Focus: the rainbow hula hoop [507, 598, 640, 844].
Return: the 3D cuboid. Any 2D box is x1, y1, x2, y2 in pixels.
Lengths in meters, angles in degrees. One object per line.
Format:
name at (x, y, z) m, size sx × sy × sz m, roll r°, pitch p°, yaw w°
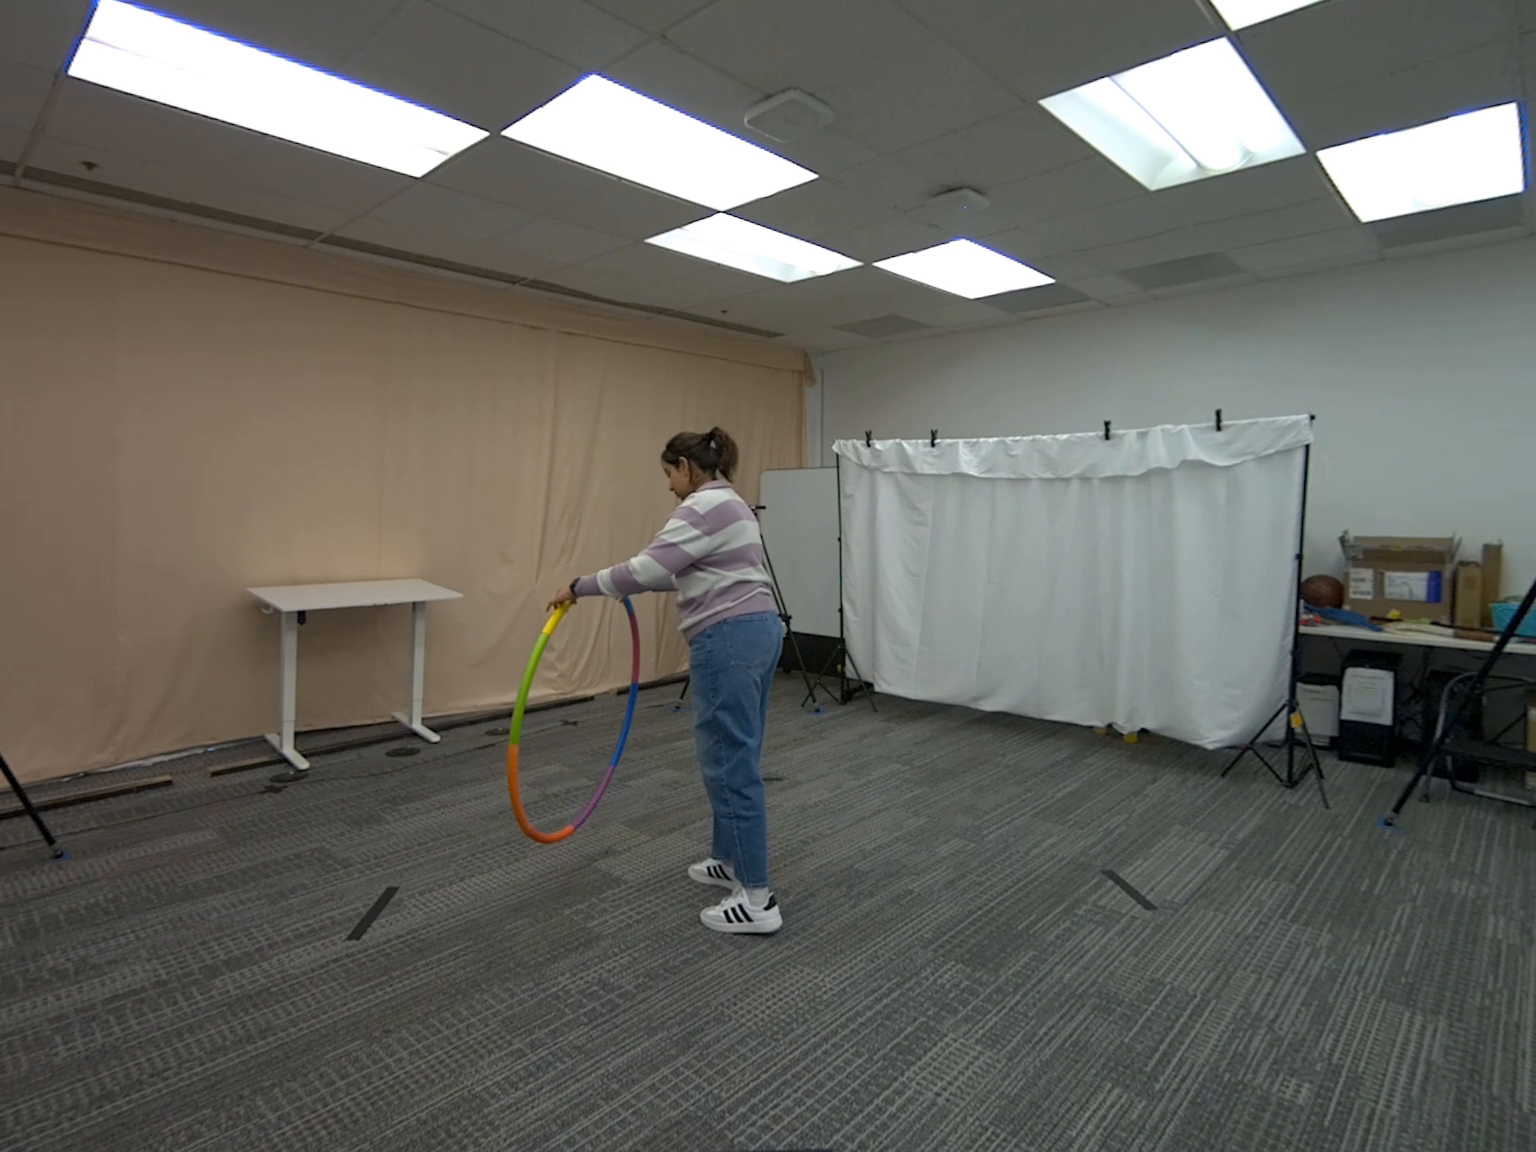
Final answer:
rainbow hula hoop at (-0.695, 0.507, 3.198) m, size 0.036 × 0.976 × 0.962 m, roll 7°, pitch 6°, yaw 16°
